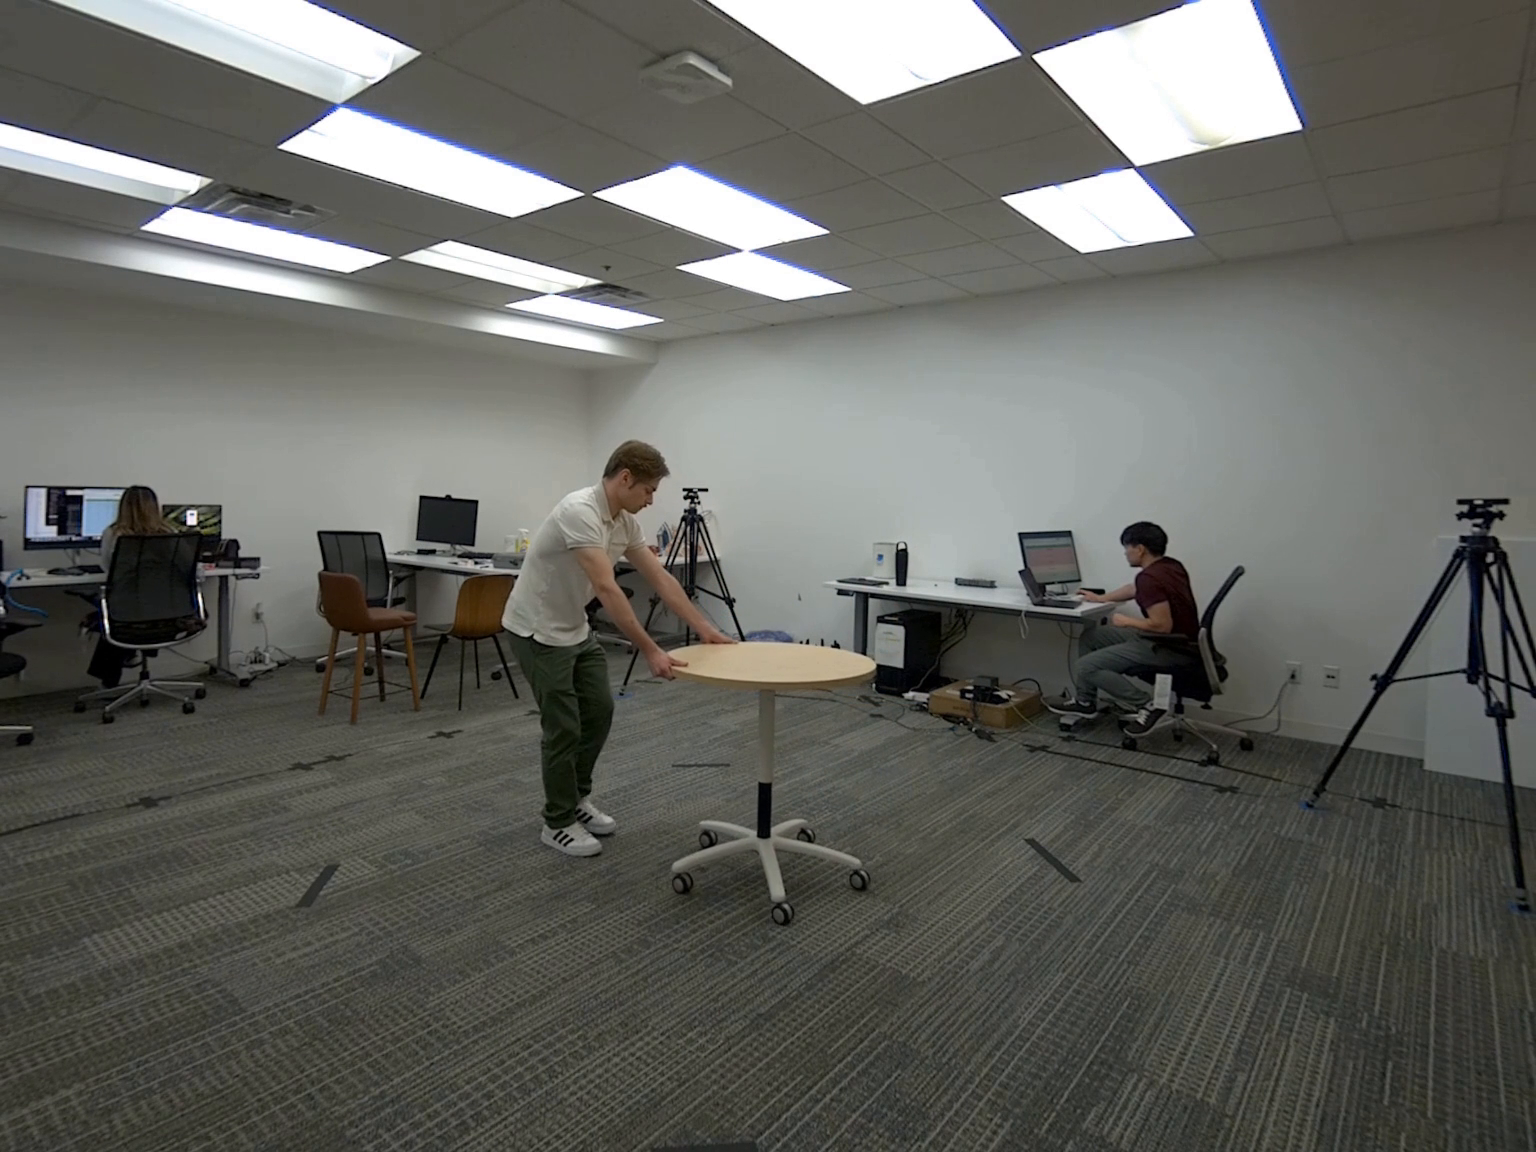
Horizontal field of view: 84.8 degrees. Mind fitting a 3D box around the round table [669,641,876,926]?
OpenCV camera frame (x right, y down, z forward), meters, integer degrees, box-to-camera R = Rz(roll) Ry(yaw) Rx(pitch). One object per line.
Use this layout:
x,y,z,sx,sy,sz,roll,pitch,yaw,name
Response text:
-0.031,0.684,3.053,0.784,0.784,0.789,1,4,-2,round table
